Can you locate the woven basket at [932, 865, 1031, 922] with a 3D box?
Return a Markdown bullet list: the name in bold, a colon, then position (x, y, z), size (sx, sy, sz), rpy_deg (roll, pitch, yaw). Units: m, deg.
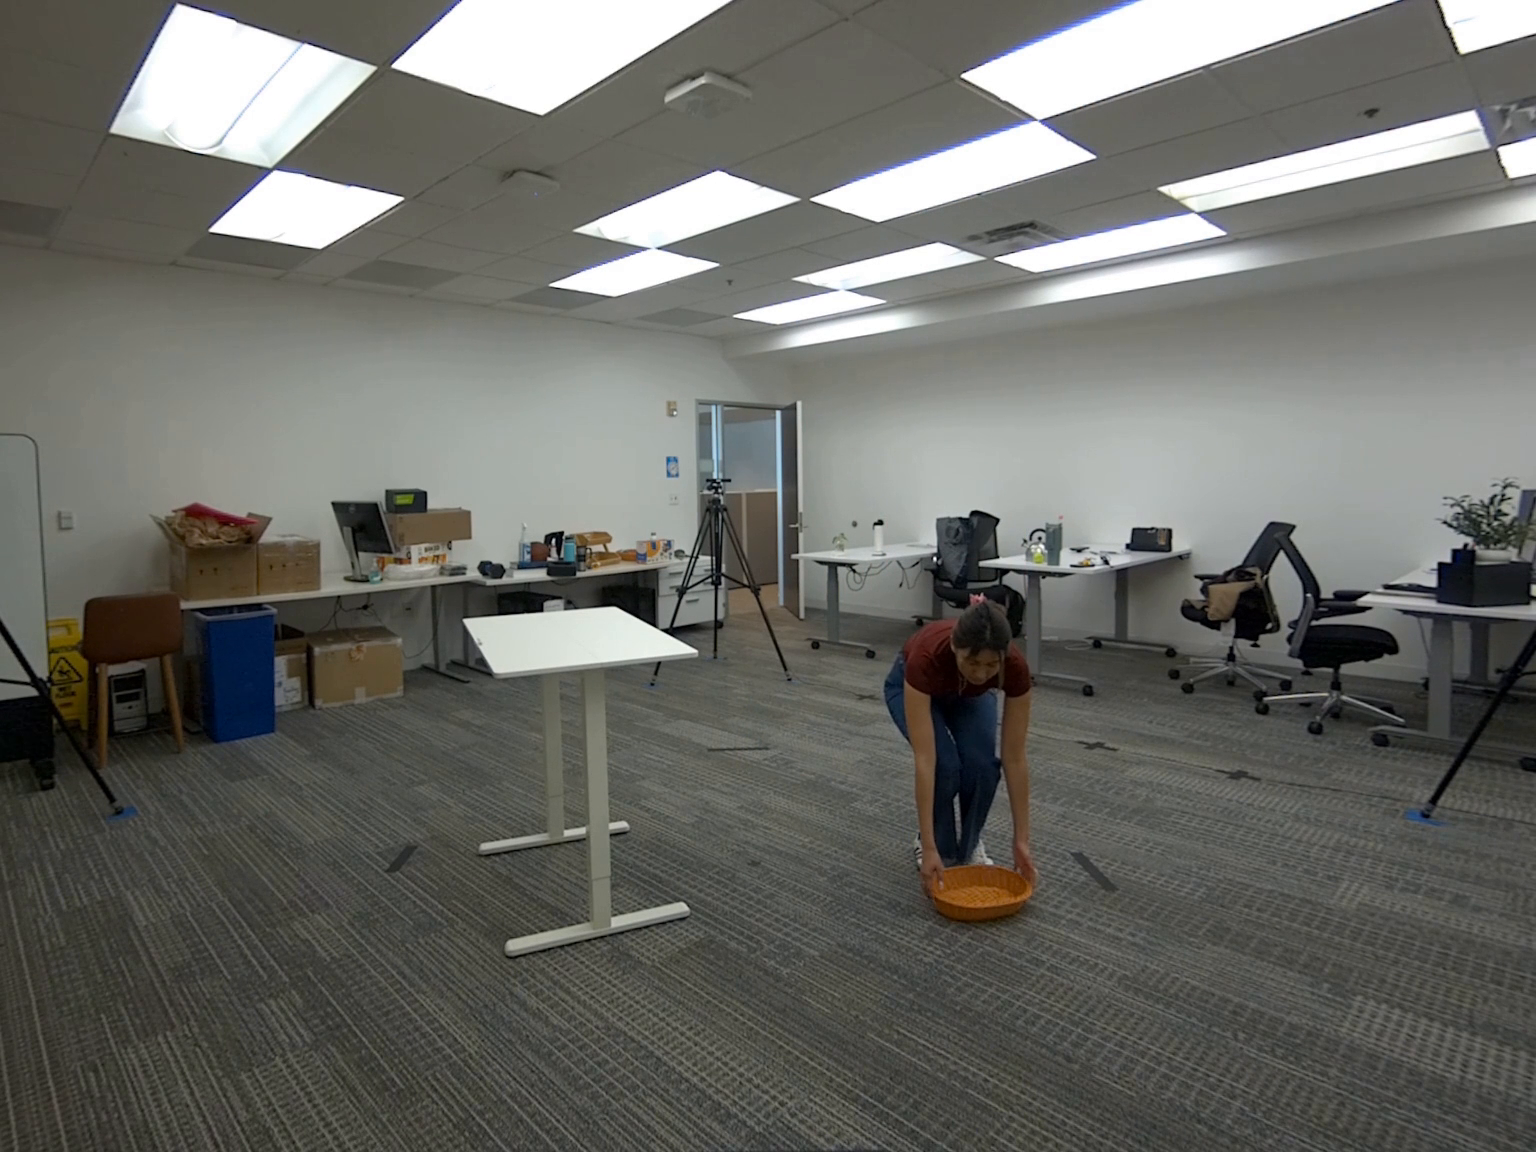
- **woven basket**: position (0.680, 1.021, 2.761), size (0.346, 0.073, 0.257), rpy_deg (-2, 7, -15)
